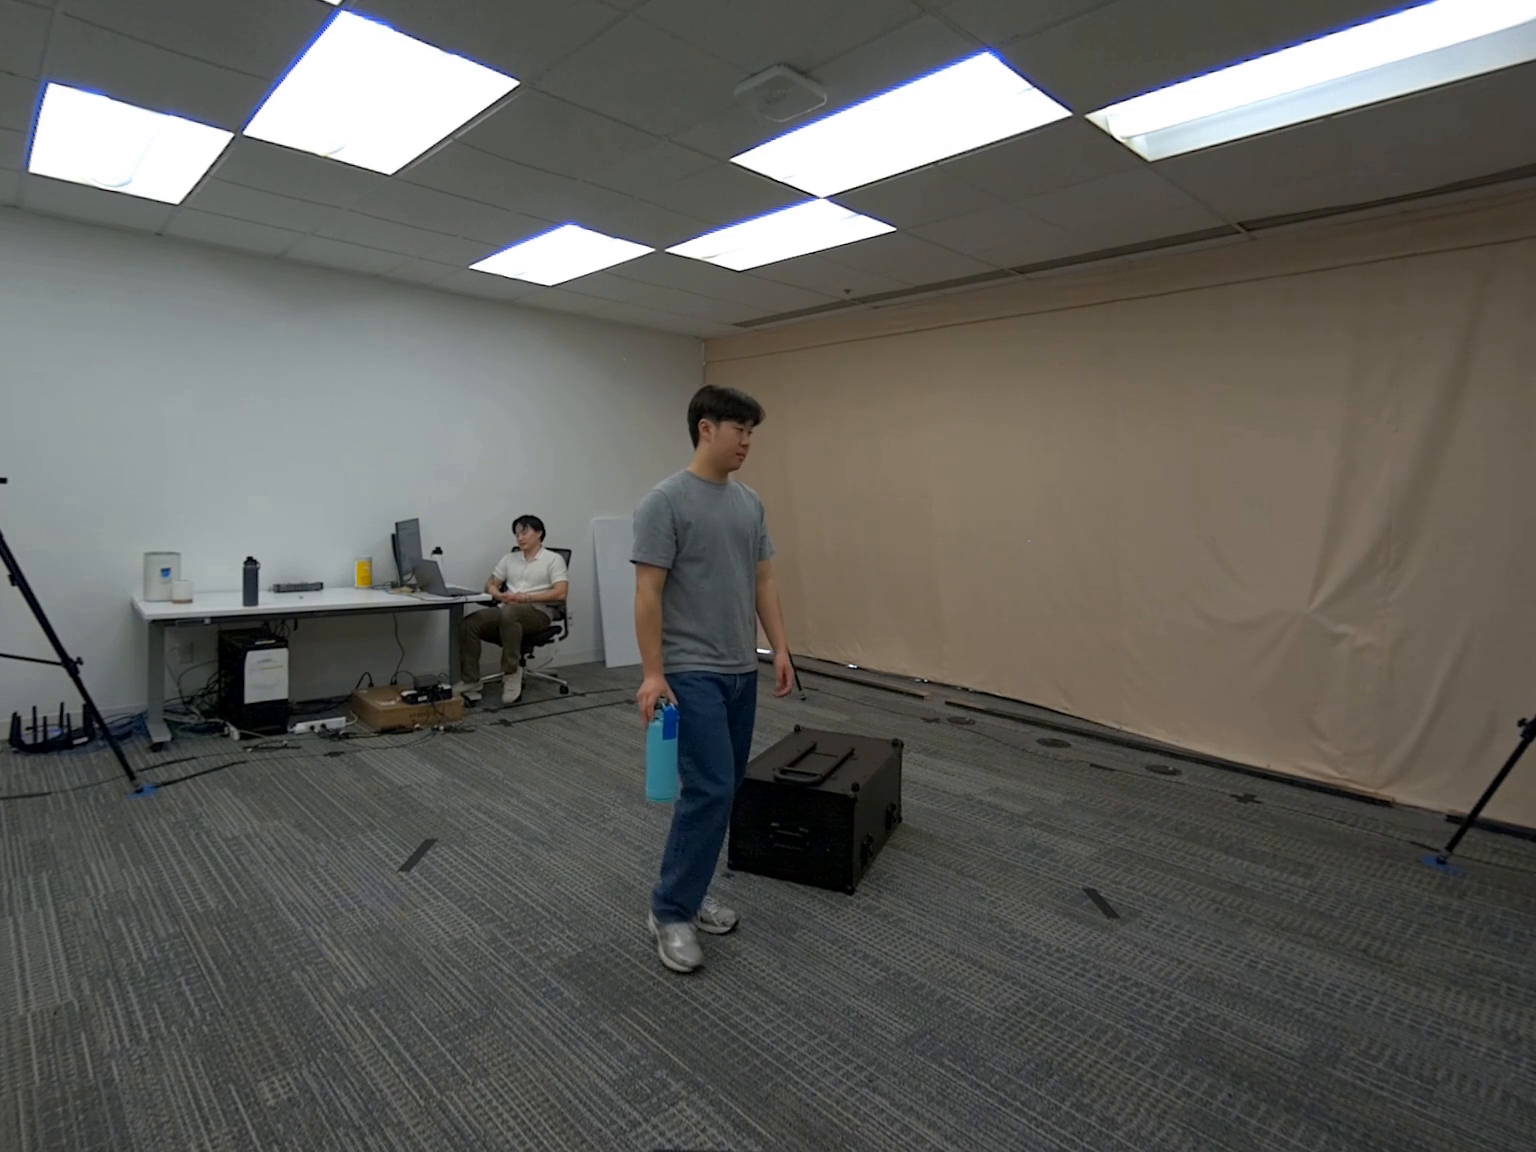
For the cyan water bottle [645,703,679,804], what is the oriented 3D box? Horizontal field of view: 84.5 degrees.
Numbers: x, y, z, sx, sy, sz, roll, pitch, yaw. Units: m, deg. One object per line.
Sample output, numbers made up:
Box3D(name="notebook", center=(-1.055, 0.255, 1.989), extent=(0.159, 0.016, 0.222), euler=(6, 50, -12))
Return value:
Box3D(name="cyan water bottle", center=(-0.310, 0.502, 2.399), extent=(0.092, 0.283, 0.092), euler=(2, 0, -1))
